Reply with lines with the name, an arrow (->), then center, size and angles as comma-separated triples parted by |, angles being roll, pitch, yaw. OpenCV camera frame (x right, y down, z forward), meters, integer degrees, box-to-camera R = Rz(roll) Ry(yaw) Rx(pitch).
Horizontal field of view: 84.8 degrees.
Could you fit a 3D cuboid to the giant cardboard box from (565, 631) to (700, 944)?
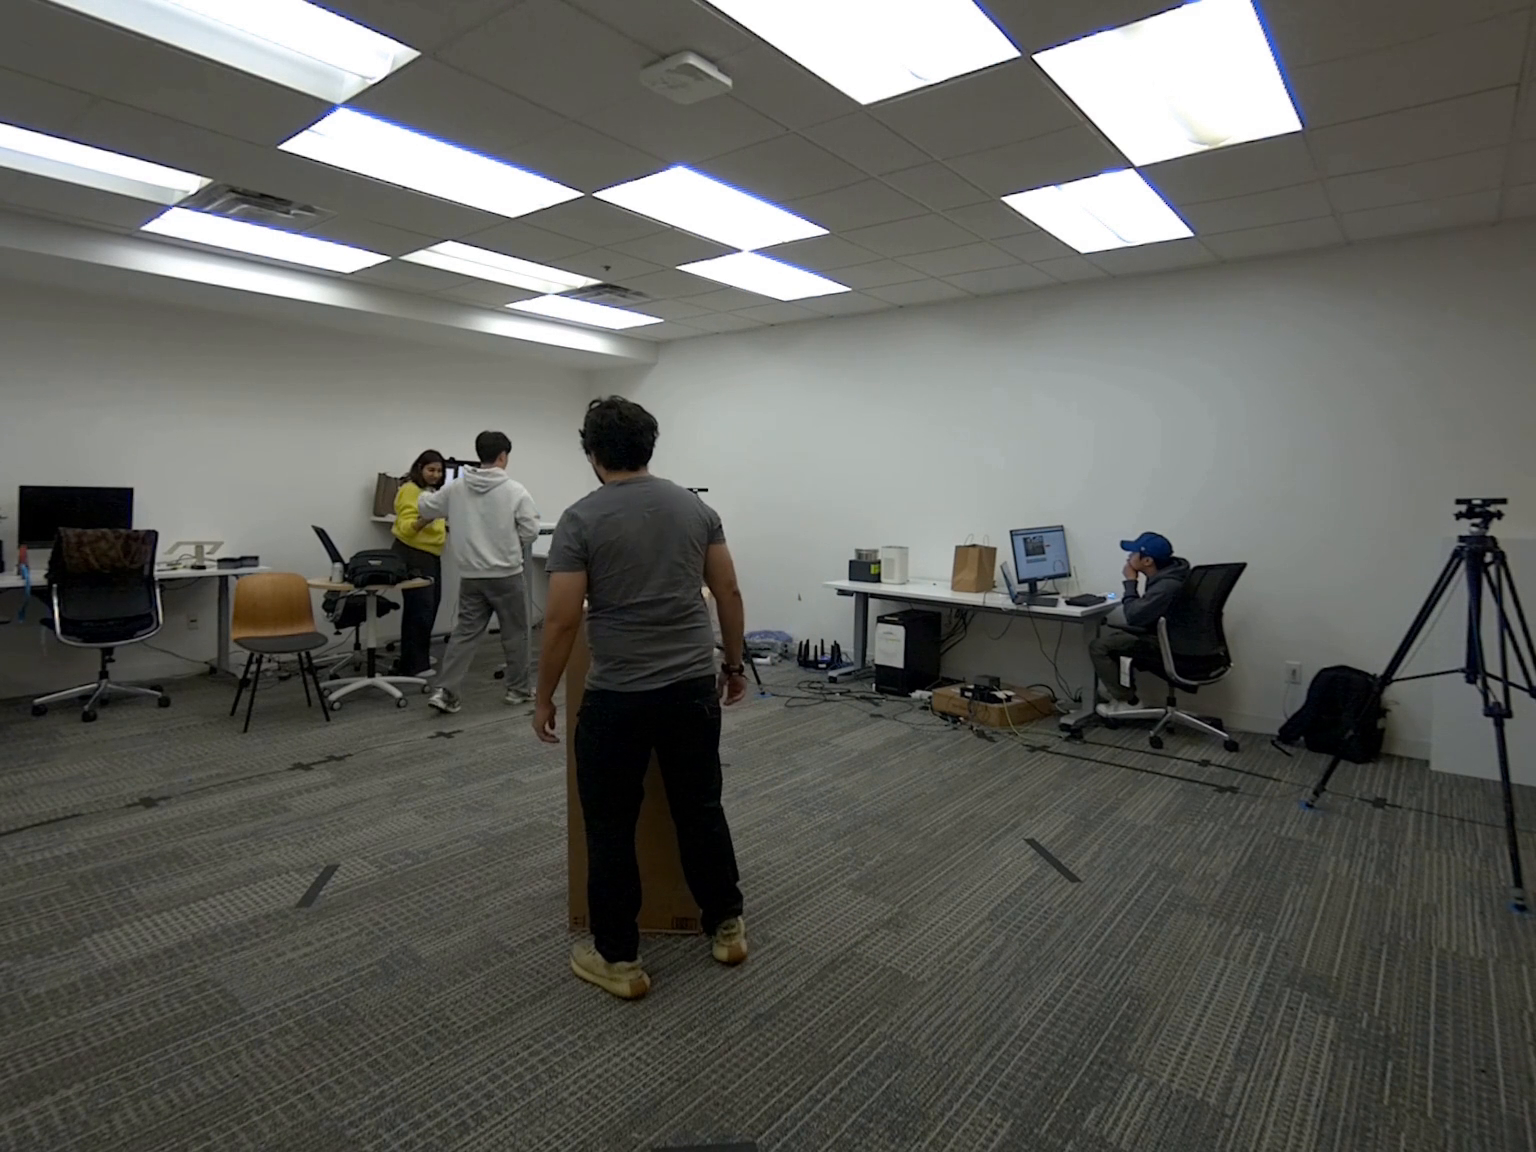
giant cardboard box -> -0.425, 0.576, 2.905 | 0.448, 1.024, 0.584 | 1, 3, 1
